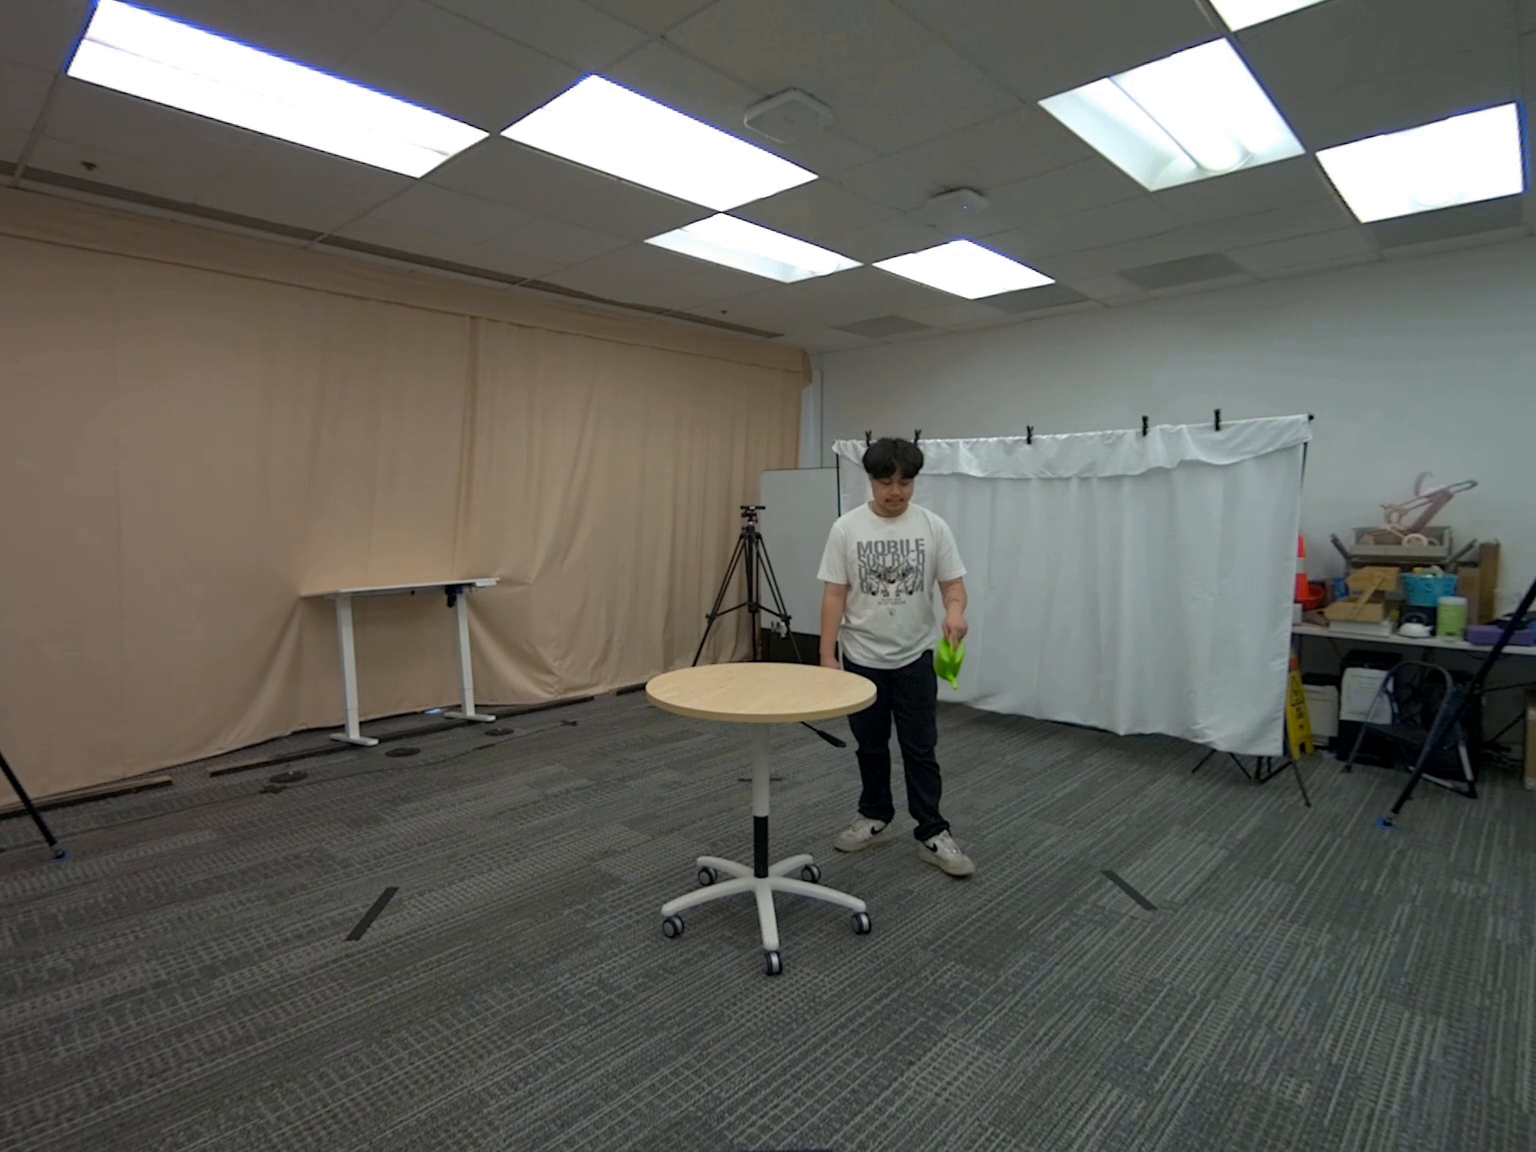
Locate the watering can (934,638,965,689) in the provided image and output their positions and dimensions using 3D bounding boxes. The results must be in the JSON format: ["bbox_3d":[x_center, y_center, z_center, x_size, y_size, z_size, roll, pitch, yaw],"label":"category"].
[{"bbox_3d":[0.657,0.323,3.052,0.100,0.280,0.172,7,-32,15],"label":"watering can"}]
